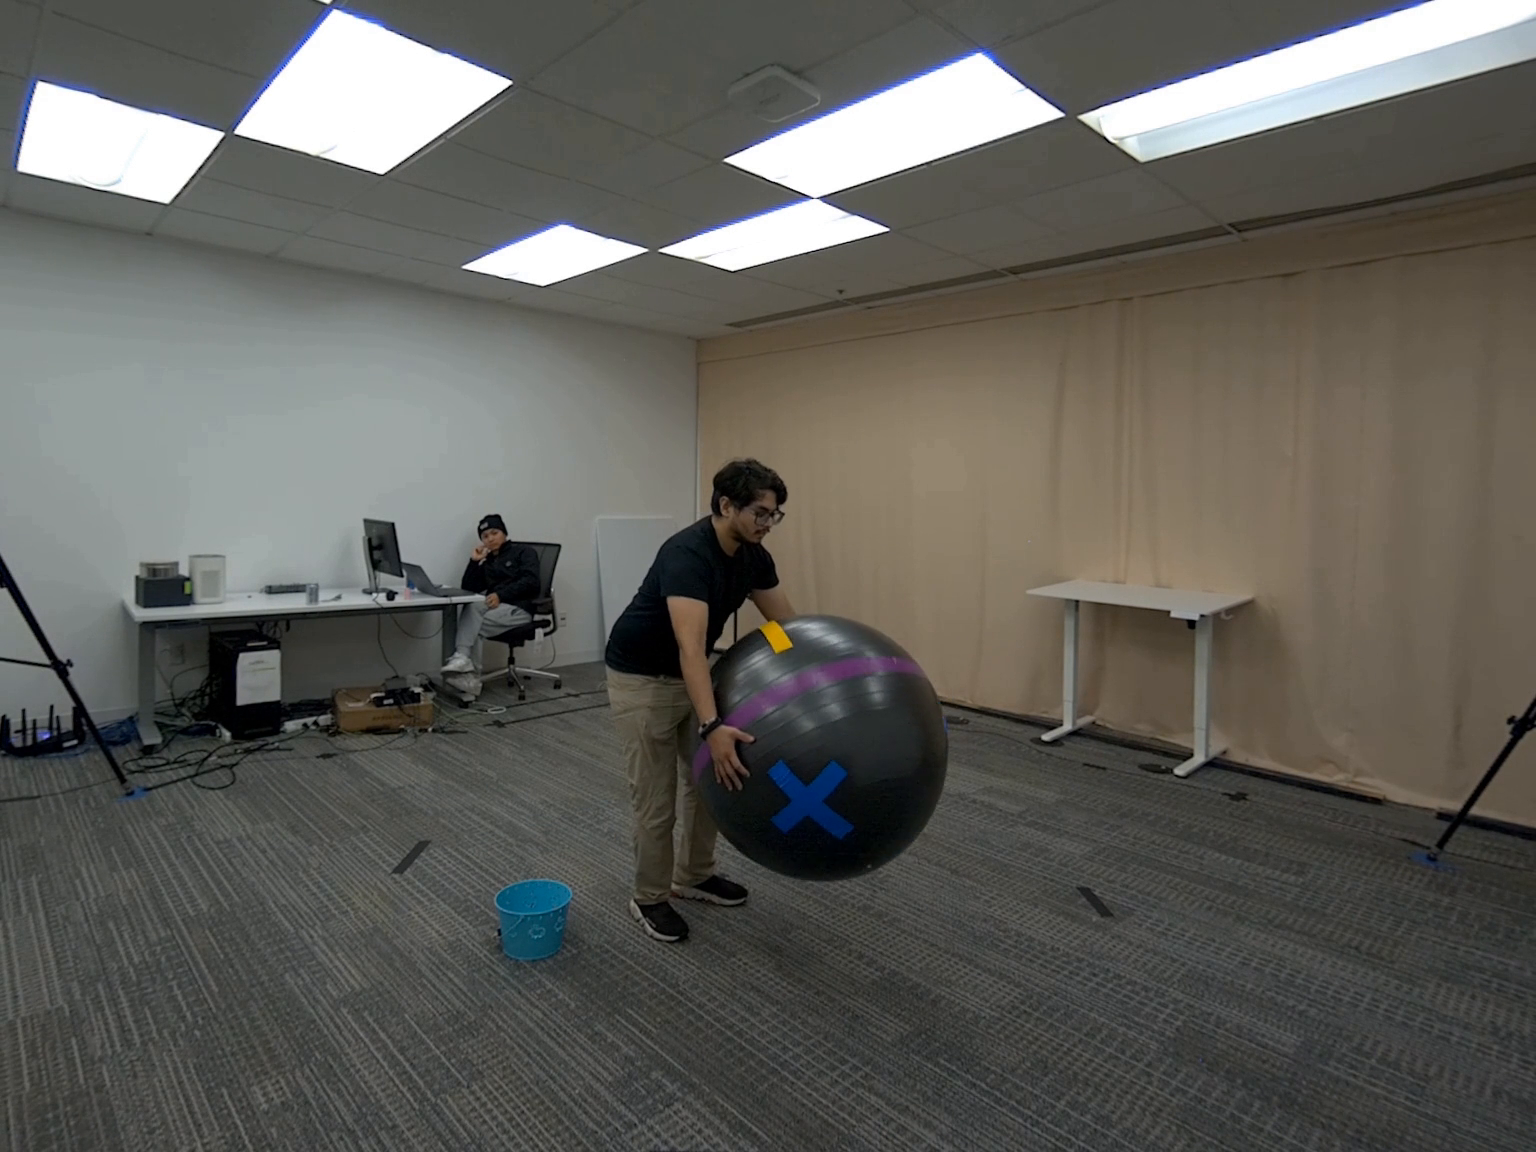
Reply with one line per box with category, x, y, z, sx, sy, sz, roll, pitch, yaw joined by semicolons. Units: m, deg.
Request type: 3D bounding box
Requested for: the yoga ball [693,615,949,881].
yoga ball;0.140;0.502;2.481;0.757;0.756;0.761;1;4;-1
